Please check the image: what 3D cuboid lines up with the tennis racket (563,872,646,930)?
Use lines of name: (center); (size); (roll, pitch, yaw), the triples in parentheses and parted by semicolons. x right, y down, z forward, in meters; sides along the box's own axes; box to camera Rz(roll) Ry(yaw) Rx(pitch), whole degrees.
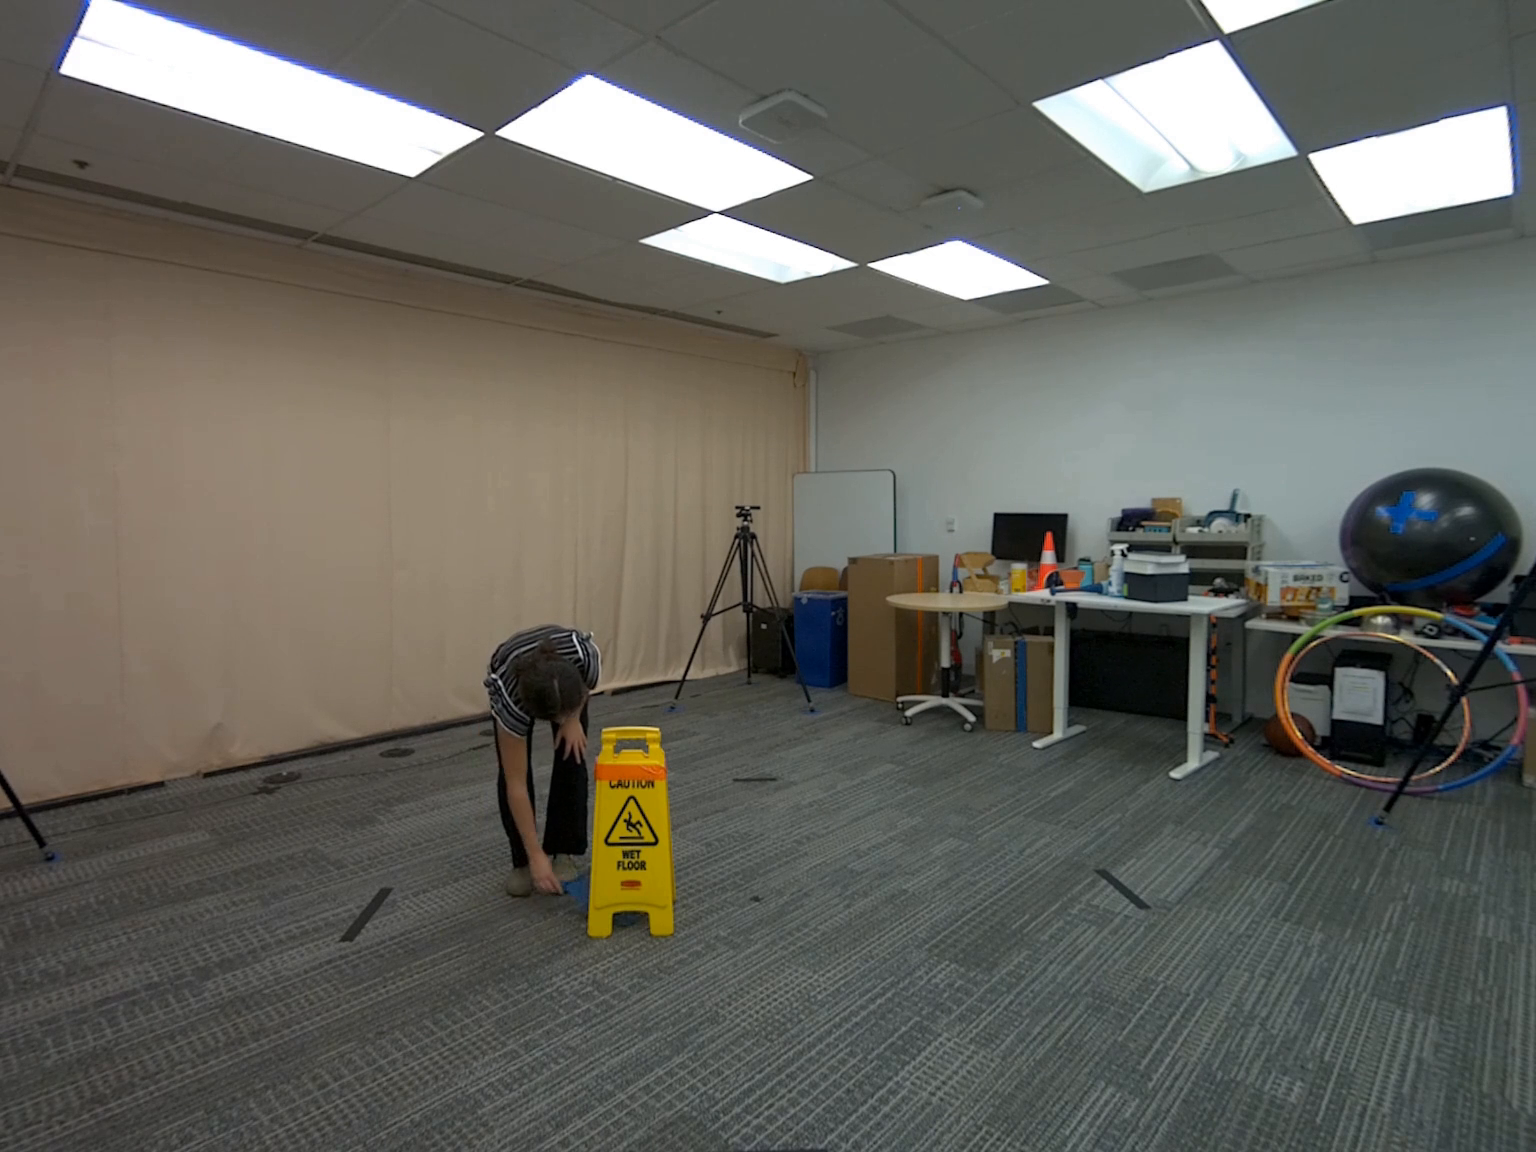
tennis racket: (-0.649, 1.064, 2.846); (0.436, 0.215, 0.031); (9, -25, 7)
